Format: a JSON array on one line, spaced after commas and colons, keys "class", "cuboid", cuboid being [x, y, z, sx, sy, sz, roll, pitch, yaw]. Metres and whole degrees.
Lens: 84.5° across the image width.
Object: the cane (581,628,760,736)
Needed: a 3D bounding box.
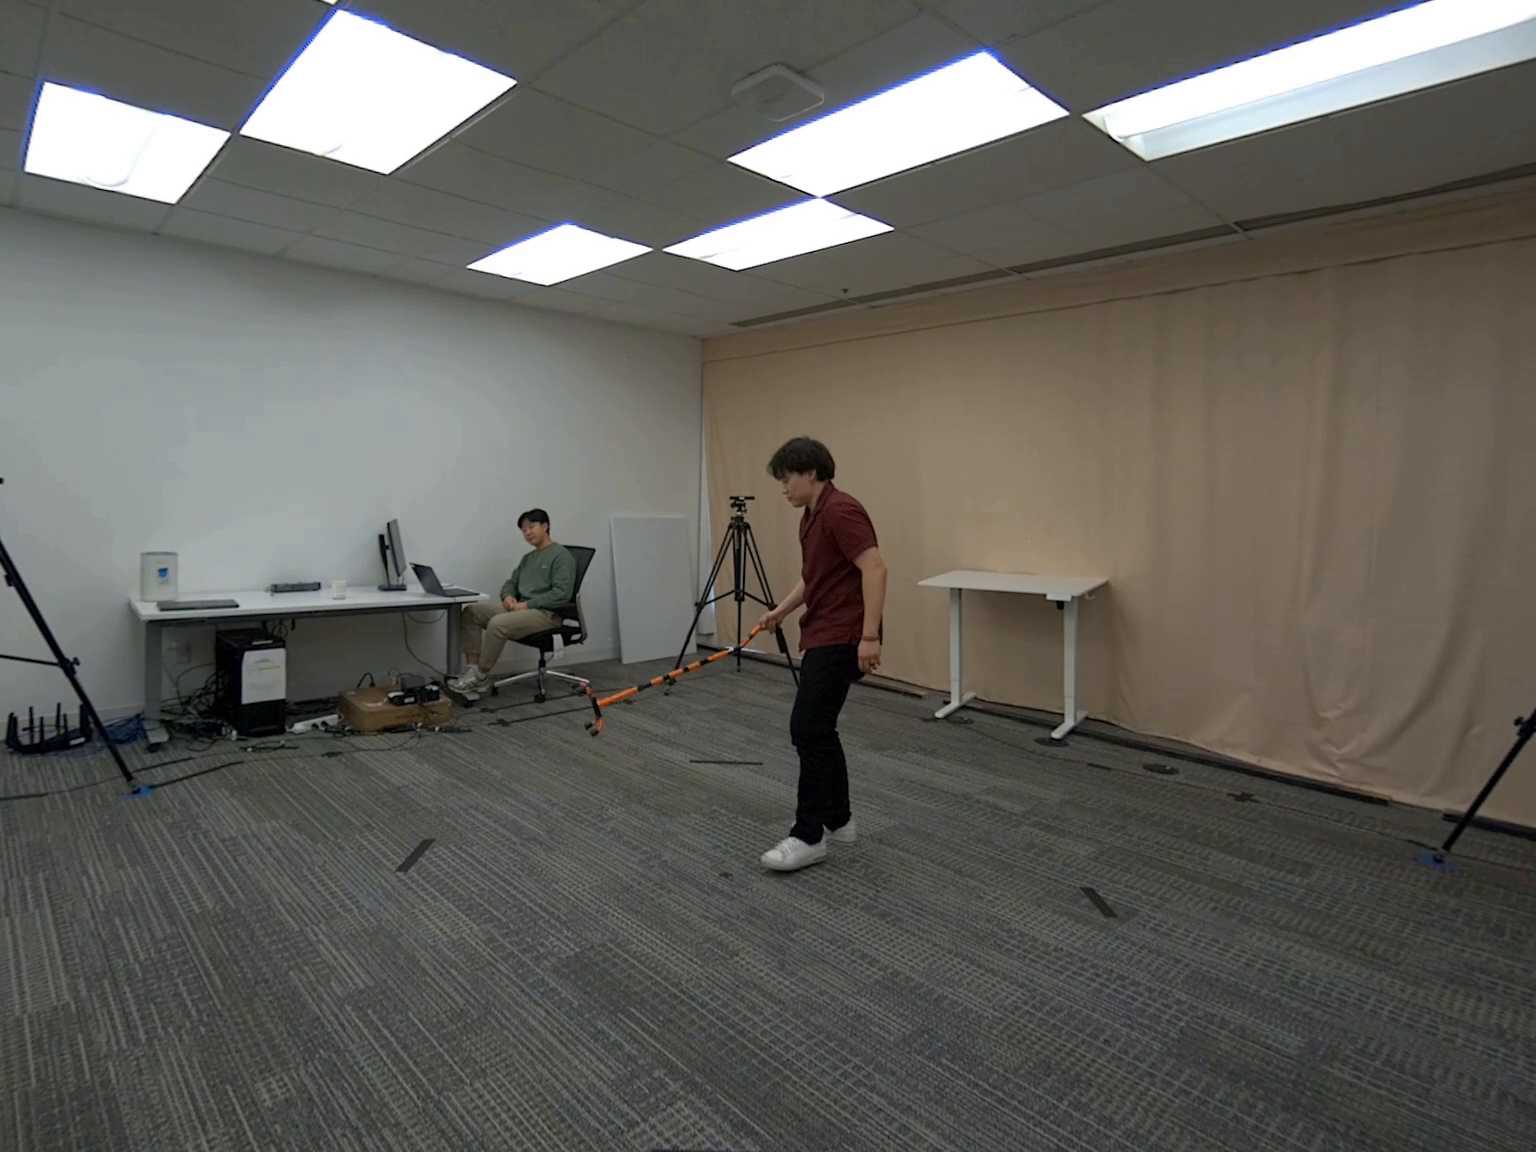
[{"class": "cane", "cuboid": [-0.347, 0.380, 3.478, 0.899, 0.205, 0.154, -20, 8, -19]}]
